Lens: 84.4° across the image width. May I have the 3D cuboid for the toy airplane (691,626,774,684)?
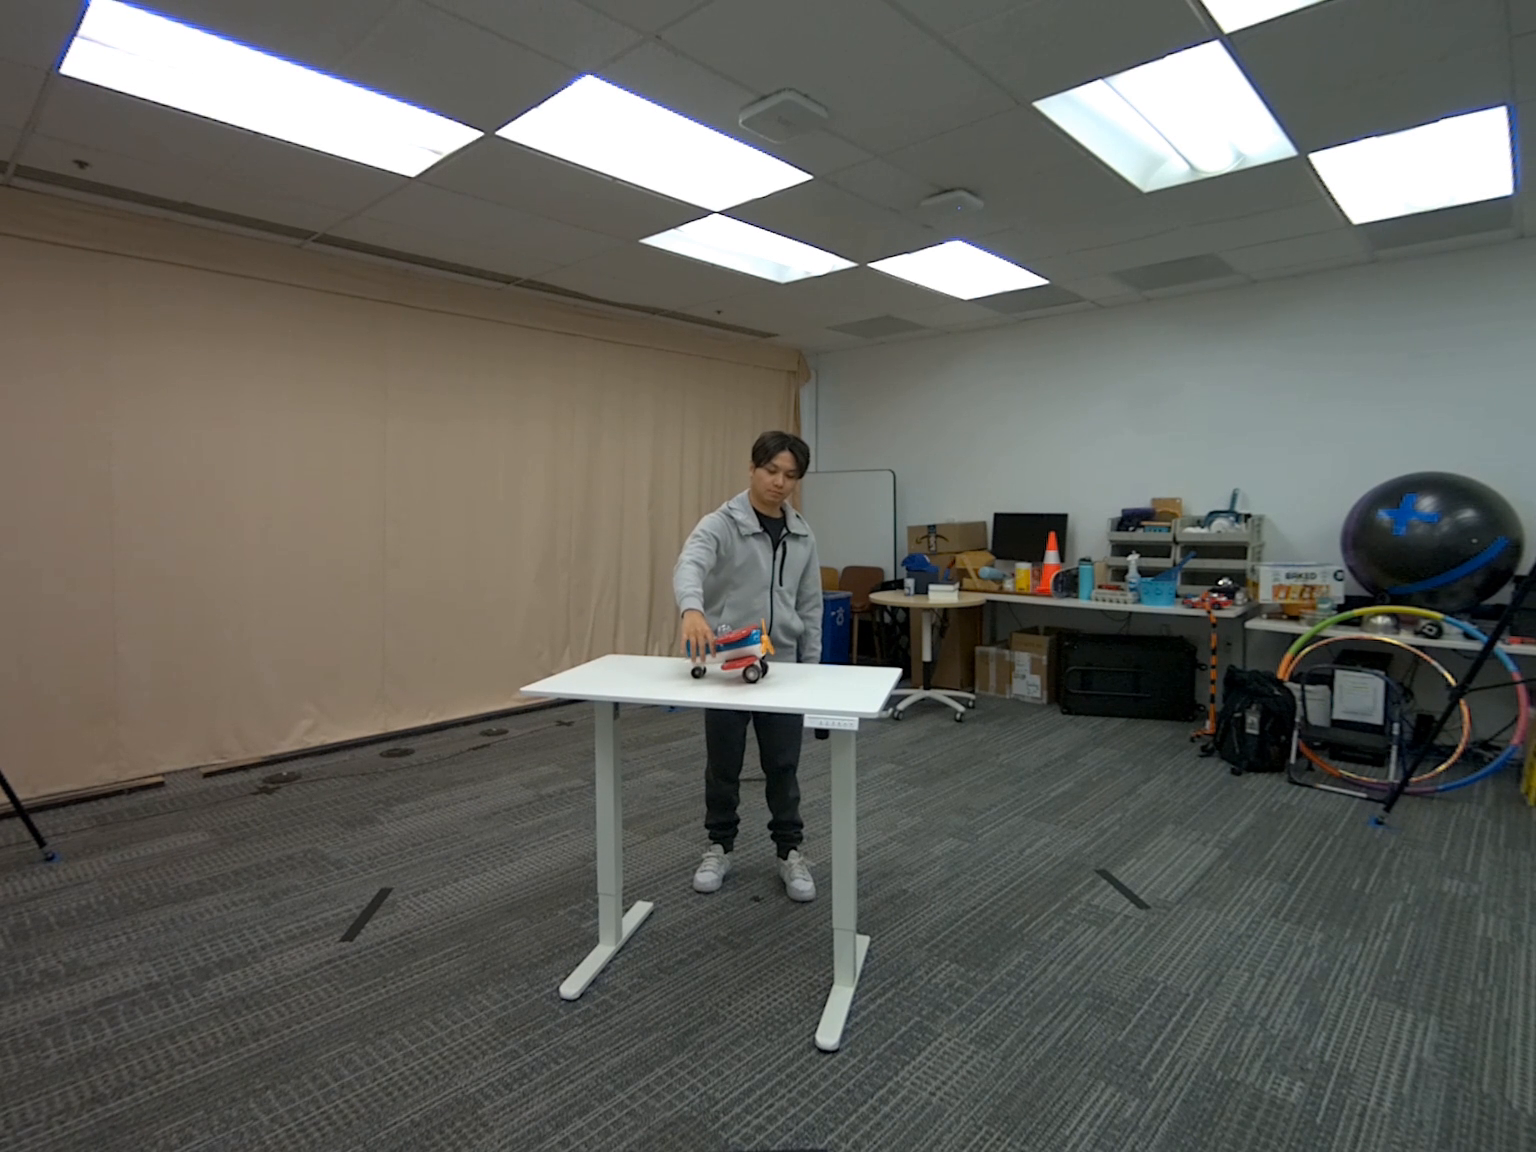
[{"bbox_3d":[-0.129,0.231,2.464,0.256,0.156,0.255,-2,4,-12],"label":"toy airplane"}]
